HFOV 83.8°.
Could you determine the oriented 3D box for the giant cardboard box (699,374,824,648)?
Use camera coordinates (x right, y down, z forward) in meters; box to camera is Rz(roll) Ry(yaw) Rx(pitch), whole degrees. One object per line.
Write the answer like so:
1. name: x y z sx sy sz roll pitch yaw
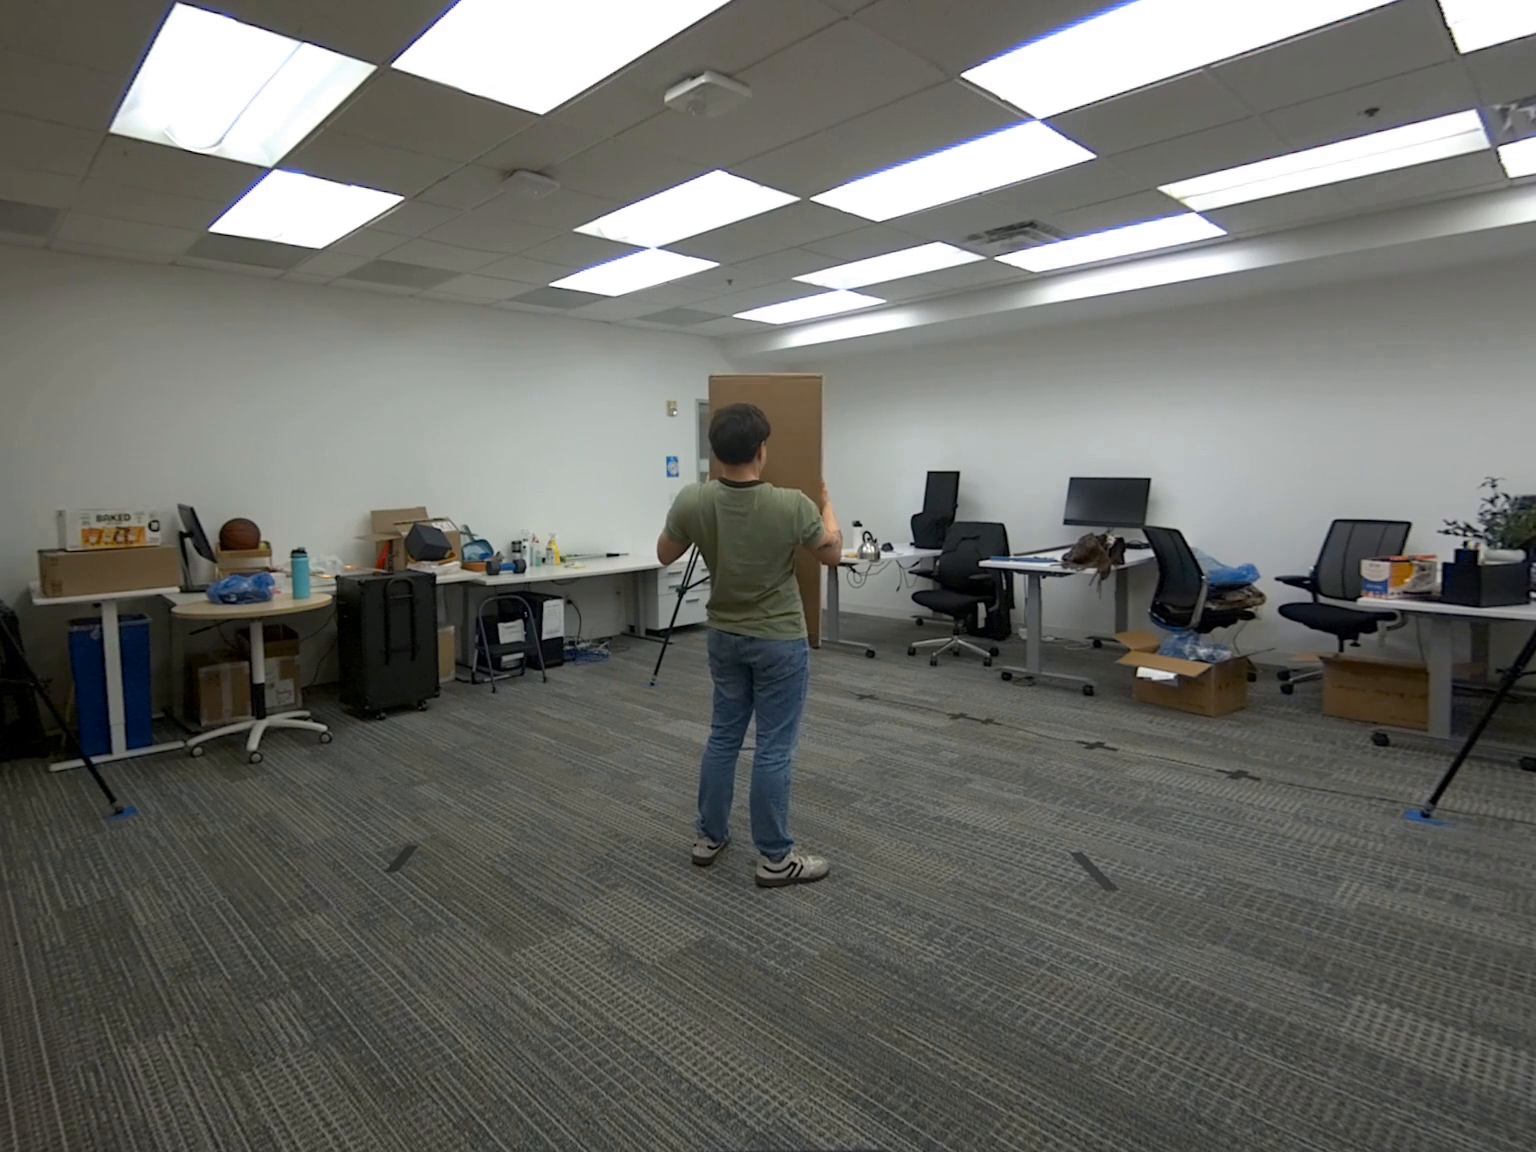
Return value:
1. giant cardboard box: 0.008 -0.296 3.465 0.429 1.017 0.578 1 10 6
